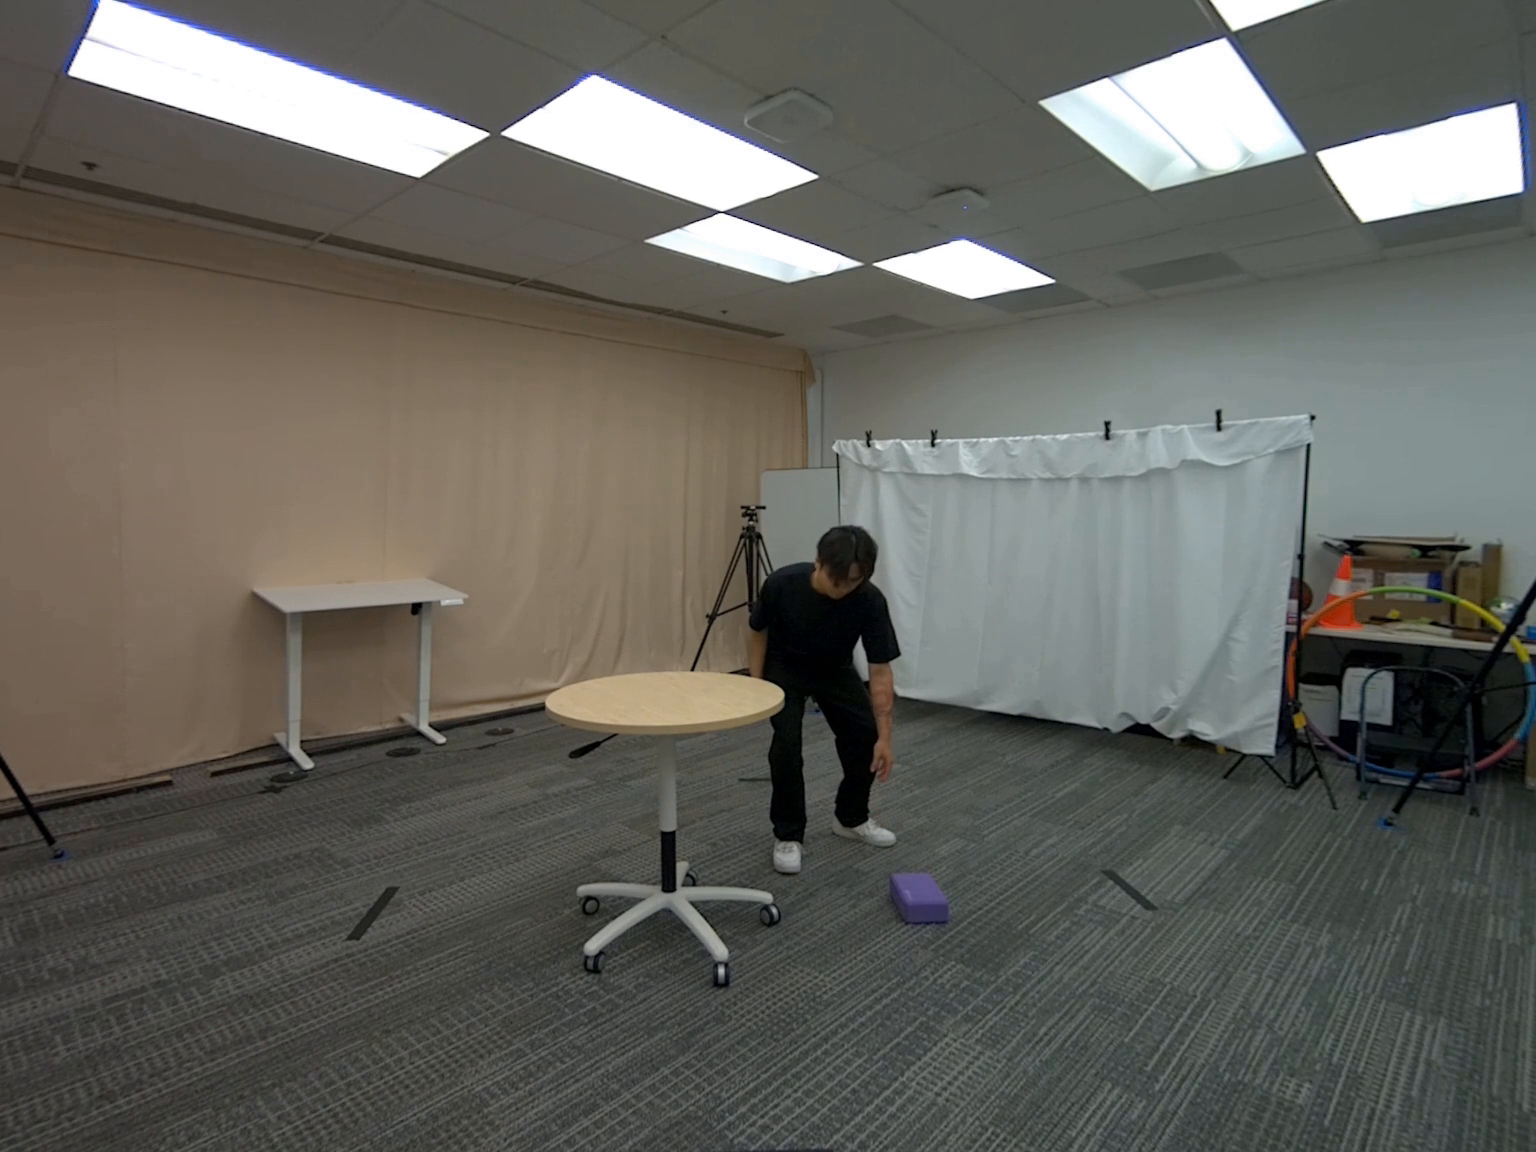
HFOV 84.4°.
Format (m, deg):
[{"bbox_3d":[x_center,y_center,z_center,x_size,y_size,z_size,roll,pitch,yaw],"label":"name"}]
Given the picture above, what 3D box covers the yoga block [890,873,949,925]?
[{"bbox_3d":[0.524,1.109,2.902,0.148,0.076,0.230,-1,5,-4],"label":"yoga block"}]
